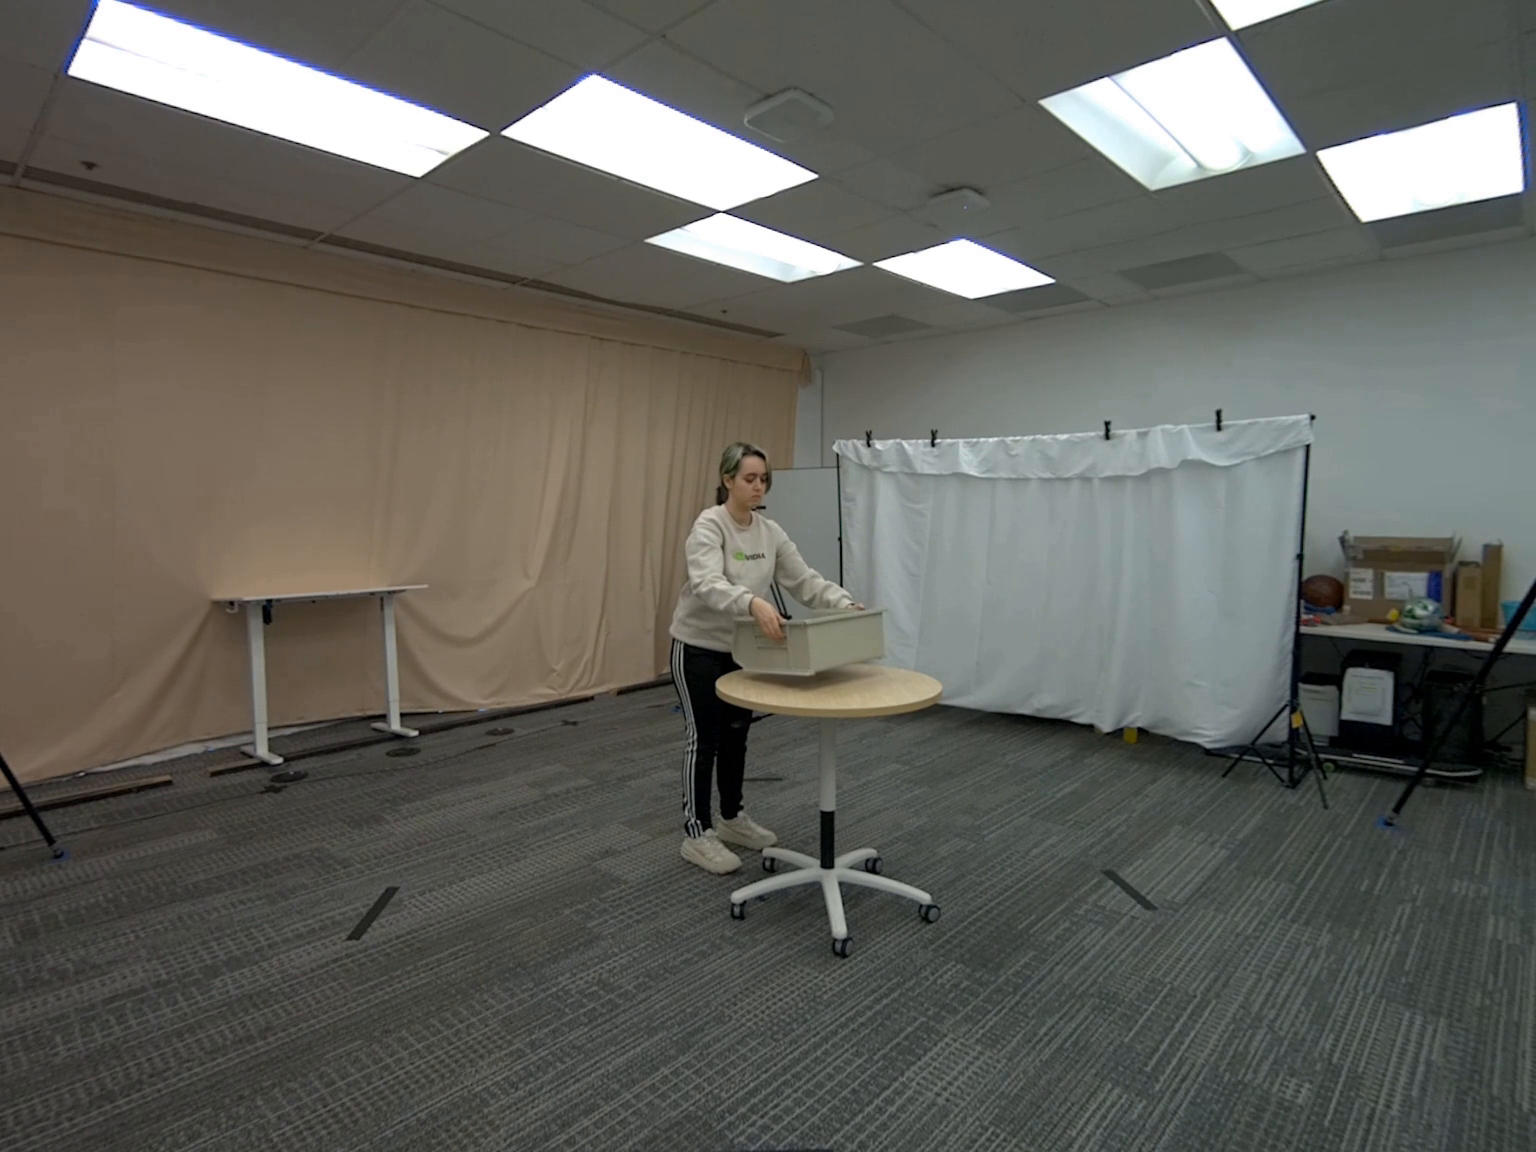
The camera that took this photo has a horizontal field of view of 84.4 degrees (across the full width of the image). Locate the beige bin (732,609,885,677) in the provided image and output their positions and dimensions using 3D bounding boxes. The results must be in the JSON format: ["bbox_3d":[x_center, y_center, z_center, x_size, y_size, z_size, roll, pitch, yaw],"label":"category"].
[{"bbox_3d":[0.151,0.225,2.974,0.409,0.189,0.389,-4,2,-43],"label":"beige bin"}]
